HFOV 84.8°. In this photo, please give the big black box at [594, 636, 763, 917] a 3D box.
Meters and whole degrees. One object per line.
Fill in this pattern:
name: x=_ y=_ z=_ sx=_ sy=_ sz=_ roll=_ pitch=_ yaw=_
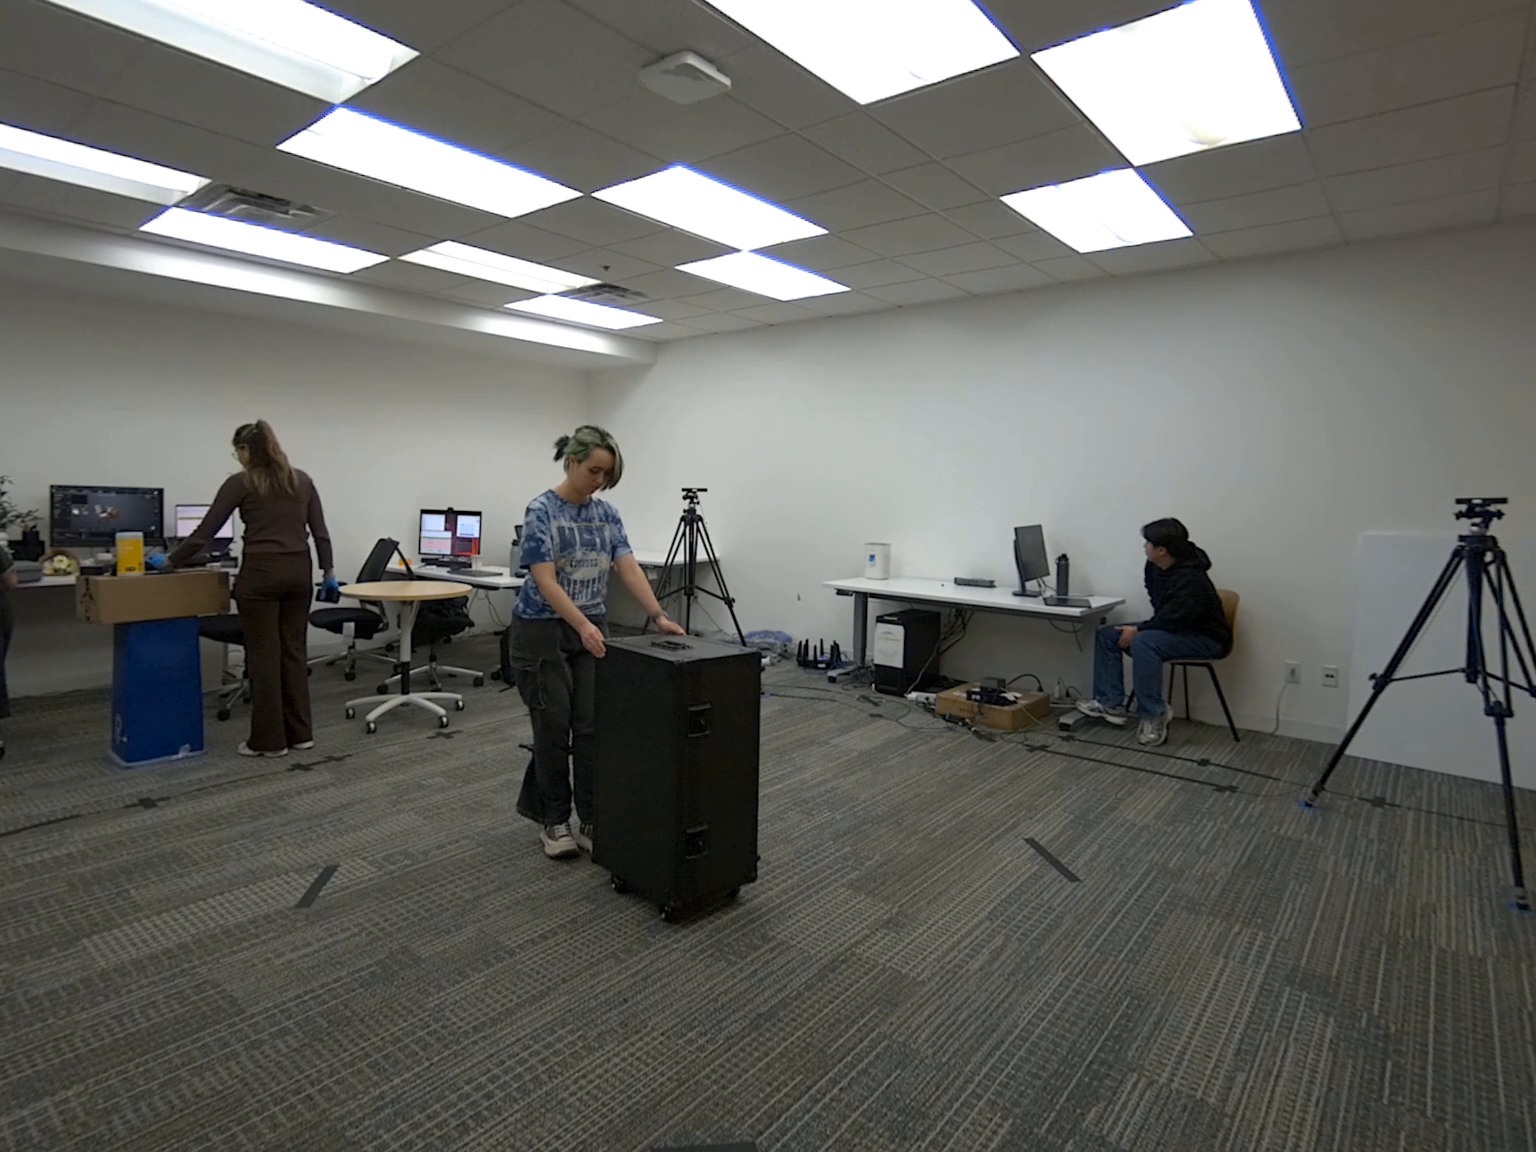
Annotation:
big black box: x=-0.327 y=0.660 z=2.925 sx=0.384 sy=0.860 sz=0.539 roll=0 pitch=3 yaw=-43
